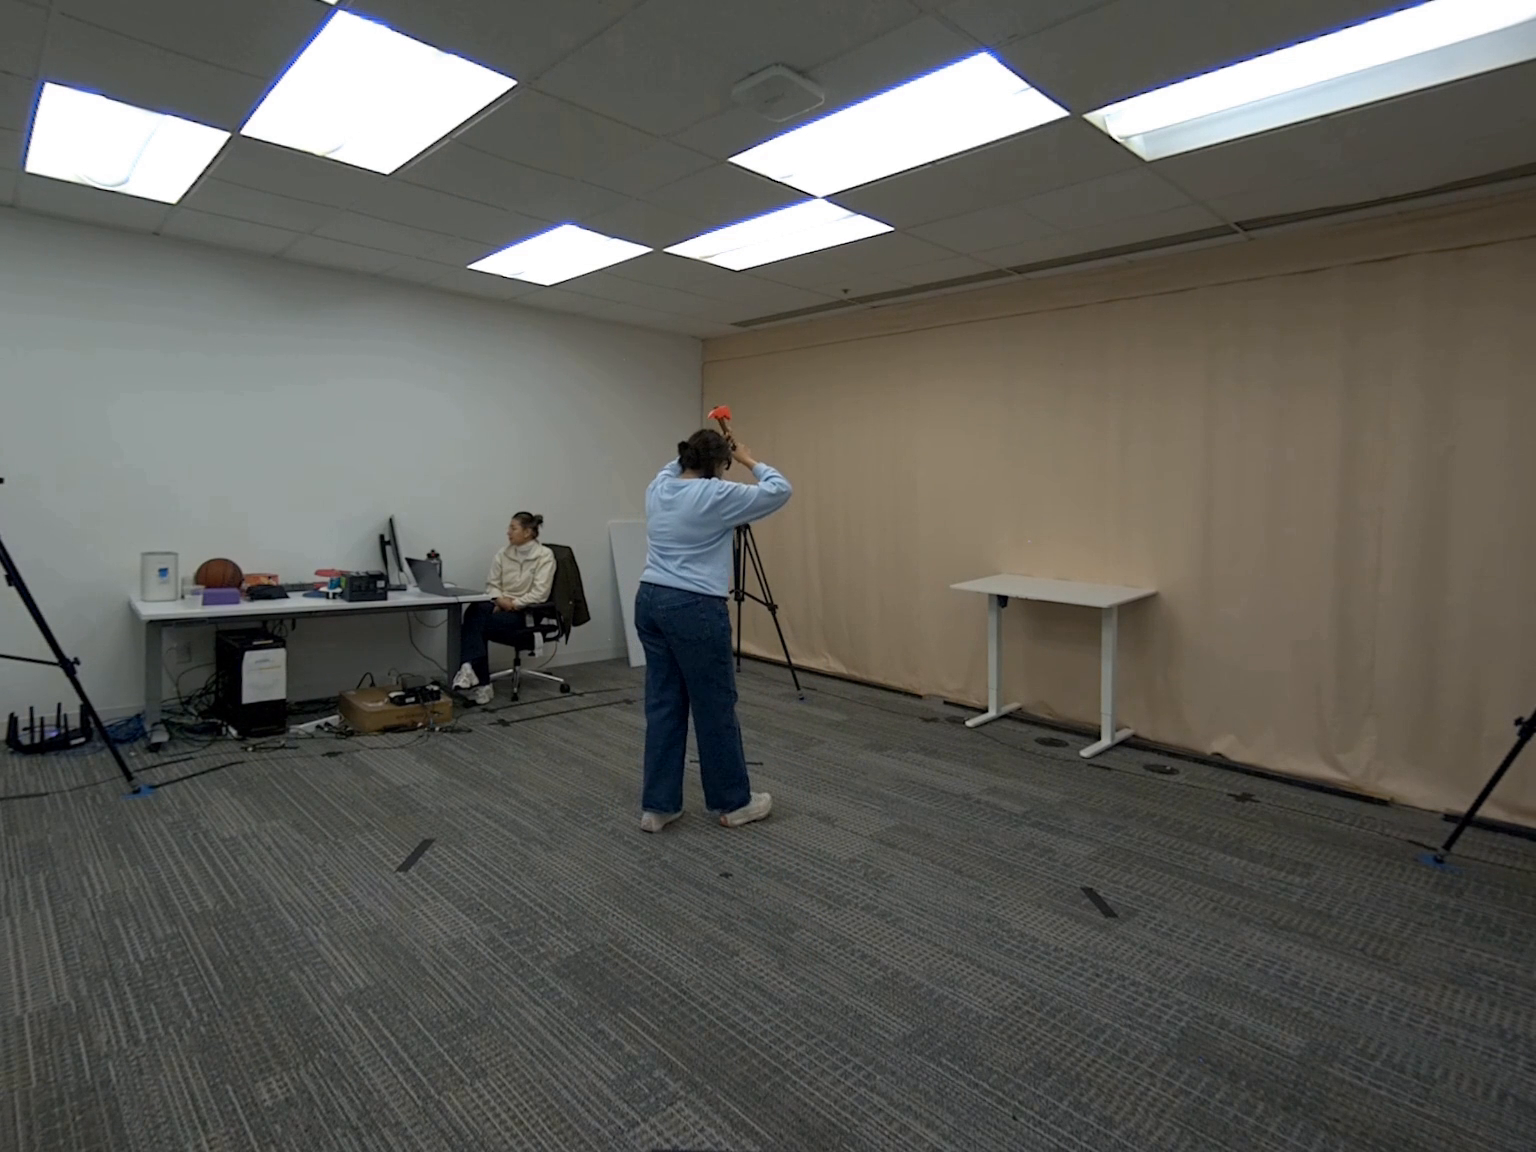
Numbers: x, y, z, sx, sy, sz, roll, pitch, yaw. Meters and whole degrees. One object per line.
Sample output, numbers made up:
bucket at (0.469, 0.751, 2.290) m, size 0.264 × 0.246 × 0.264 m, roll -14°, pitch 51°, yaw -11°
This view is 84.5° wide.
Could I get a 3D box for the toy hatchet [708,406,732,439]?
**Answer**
toy hatchet at (-0.168, -0.644, 3.721) m, size 0.030 × 0.263 × 0.132 m, roll -10°, pitch 37°, yaw 42°
